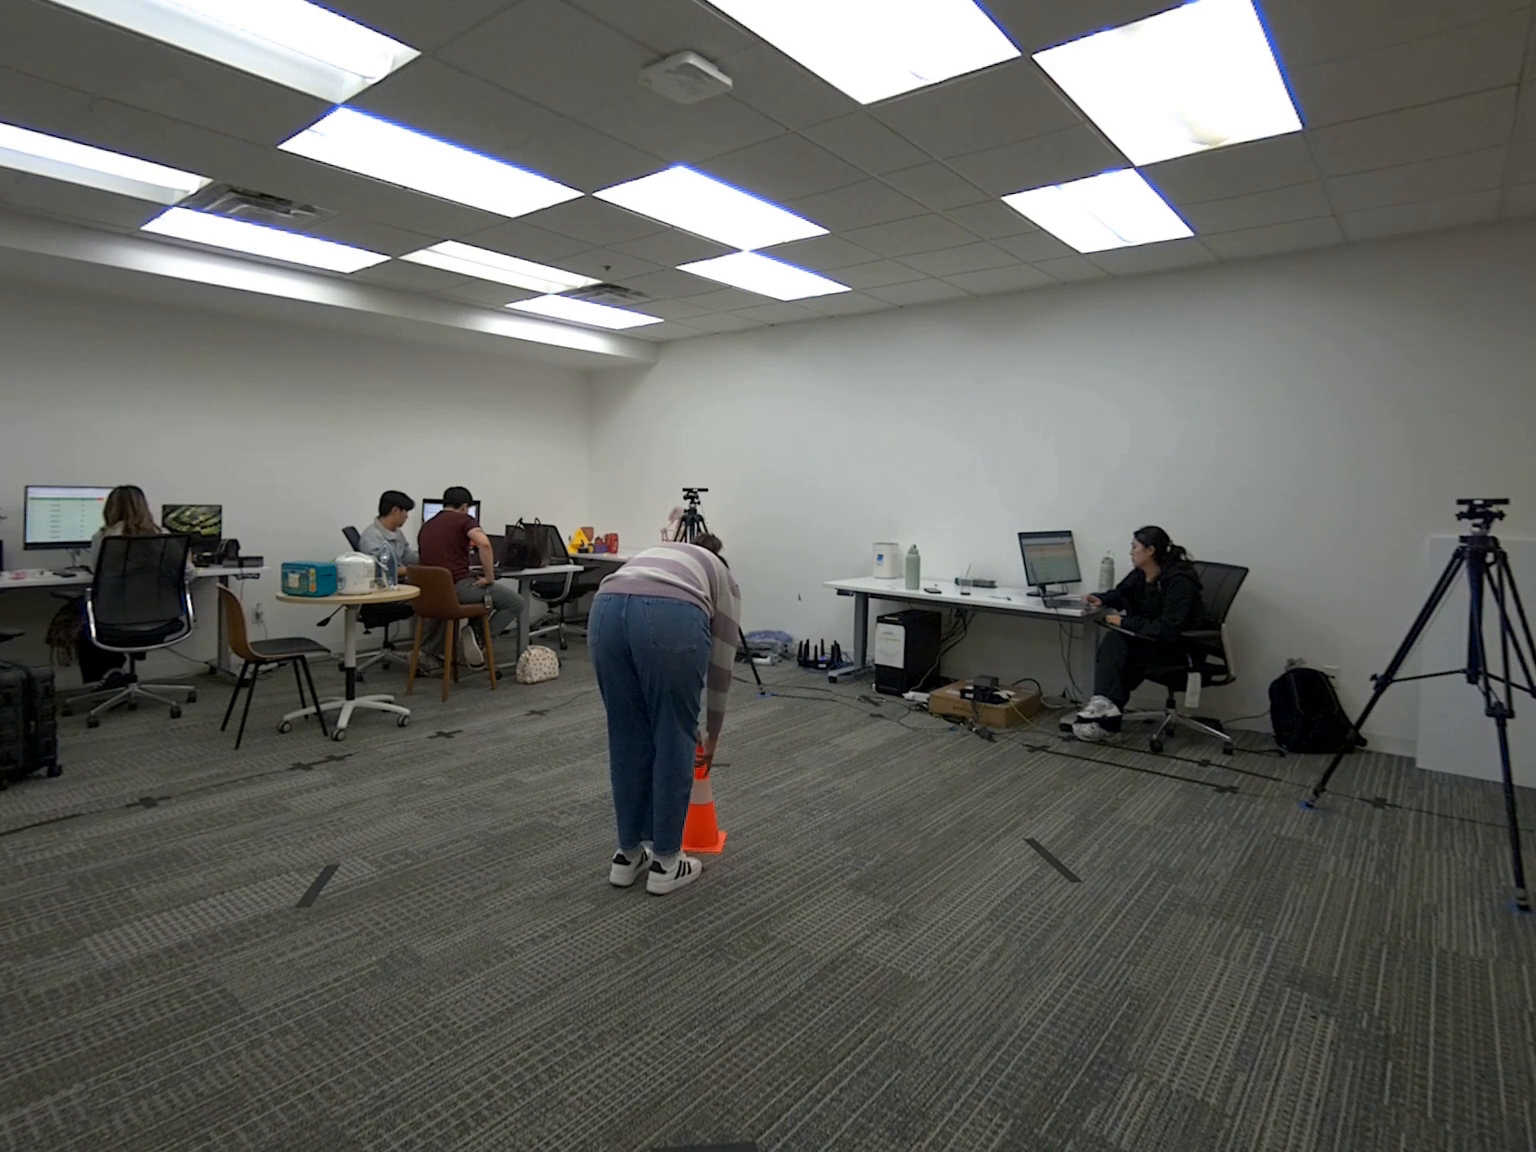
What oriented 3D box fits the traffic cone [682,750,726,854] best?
[{"bbox_3d":[-0.282,0.860,3.357,0.206,0.383,0.202,0,3,5],"label":"traffic cone"}]
